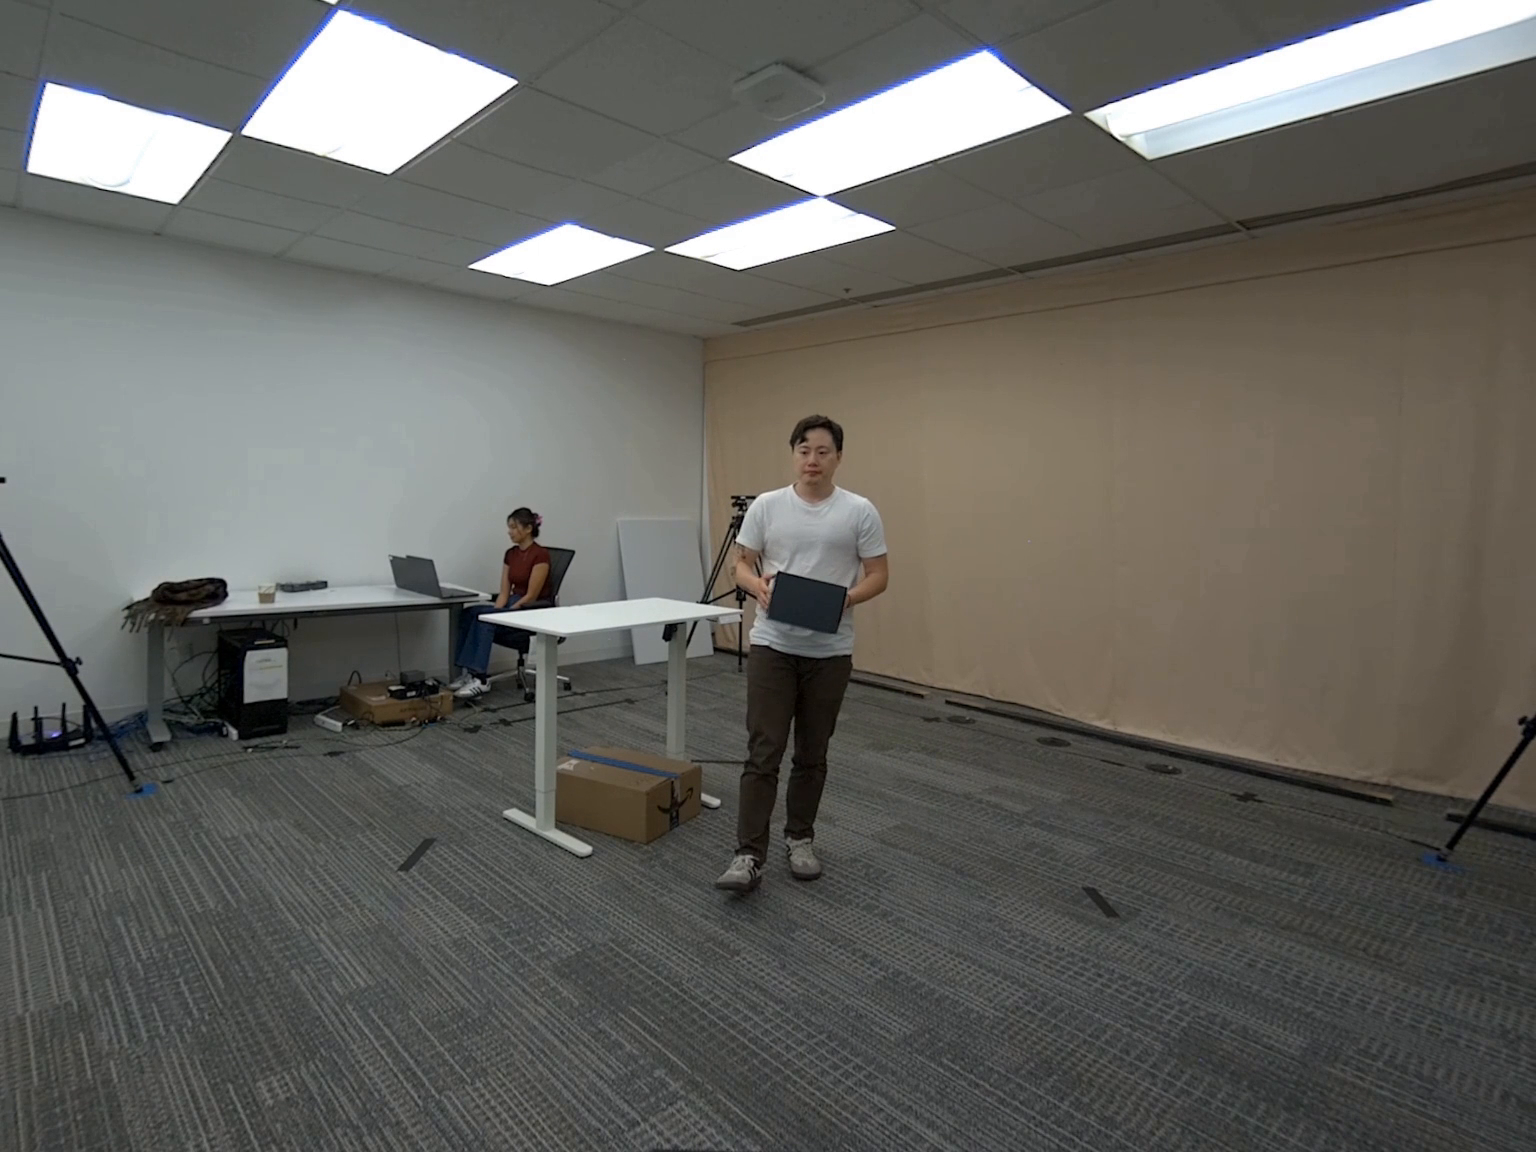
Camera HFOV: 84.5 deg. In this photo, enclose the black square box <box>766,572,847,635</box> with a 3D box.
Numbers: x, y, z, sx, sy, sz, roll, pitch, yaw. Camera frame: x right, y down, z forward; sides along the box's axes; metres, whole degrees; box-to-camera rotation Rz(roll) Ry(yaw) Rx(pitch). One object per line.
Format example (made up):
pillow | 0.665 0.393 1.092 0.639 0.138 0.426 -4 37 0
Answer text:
black square box | 0.120 0.077 2.776 0.229 0.156 0.215 7 -3 6
